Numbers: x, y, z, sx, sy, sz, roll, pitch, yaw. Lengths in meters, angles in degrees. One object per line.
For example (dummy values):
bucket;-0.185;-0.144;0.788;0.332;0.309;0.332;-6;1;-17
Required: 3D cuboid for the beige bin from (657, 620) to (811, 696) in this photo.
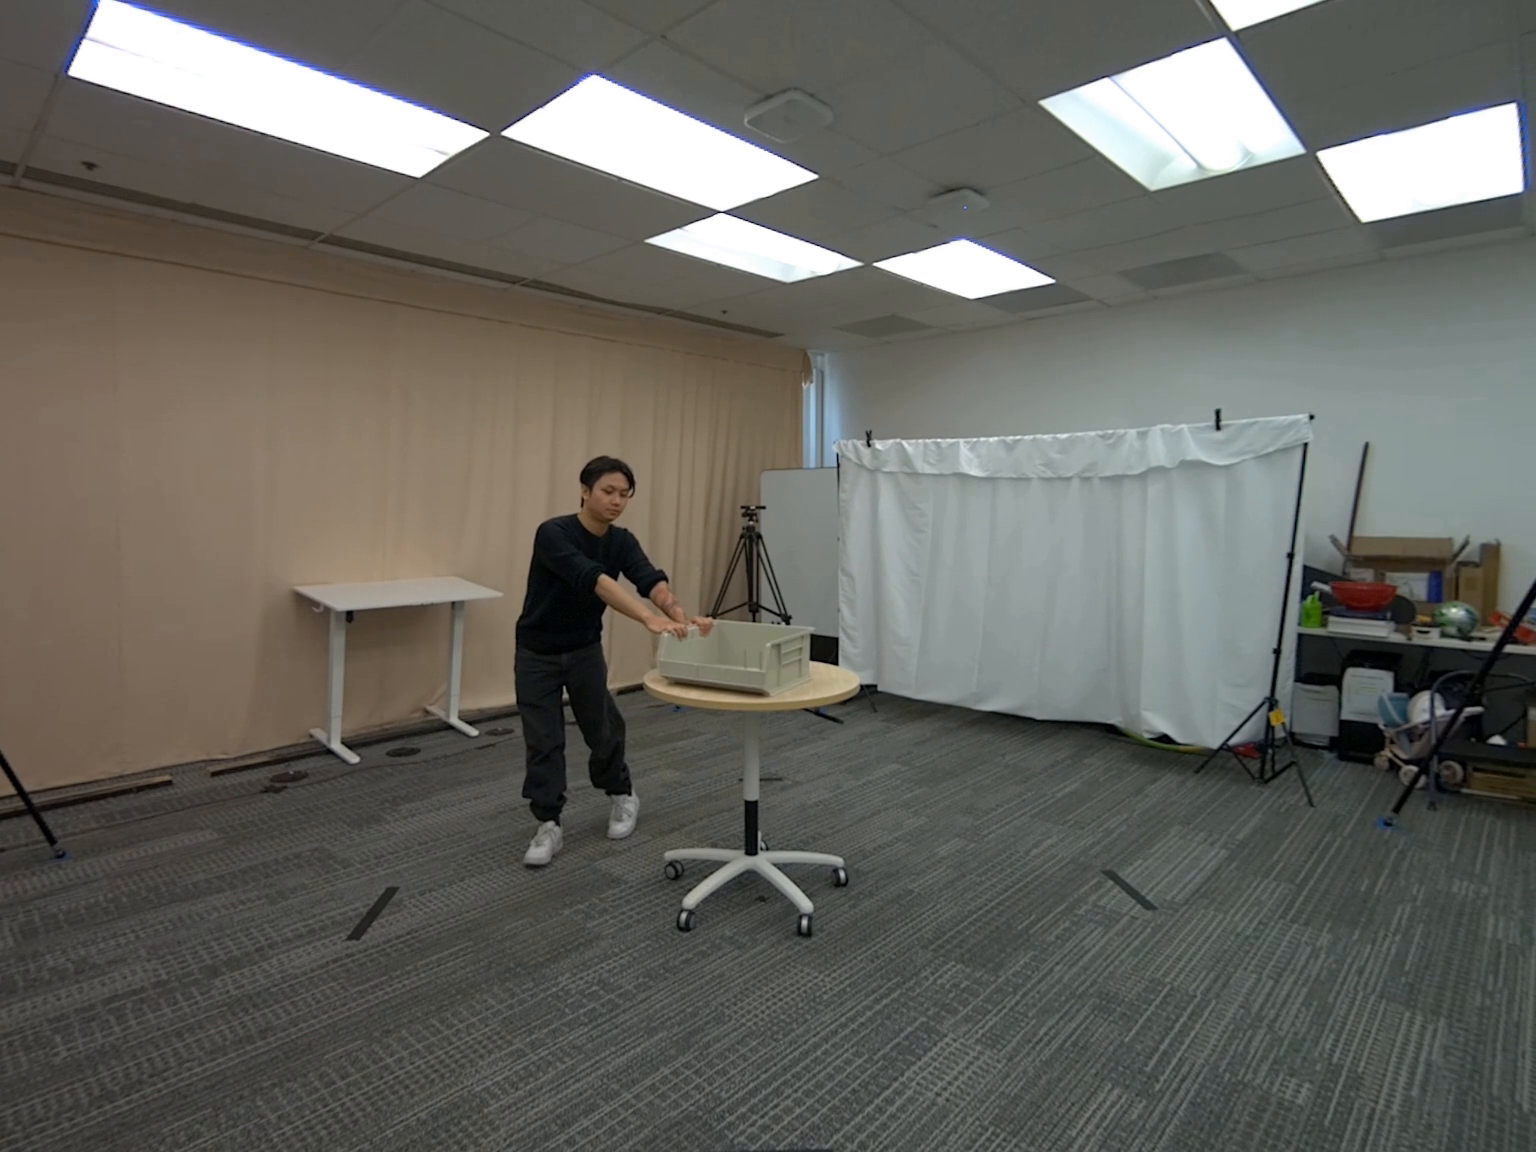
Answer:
beige bin;-0.102;0.278;2.907;0.434;0.189;0.367;3;3;30
